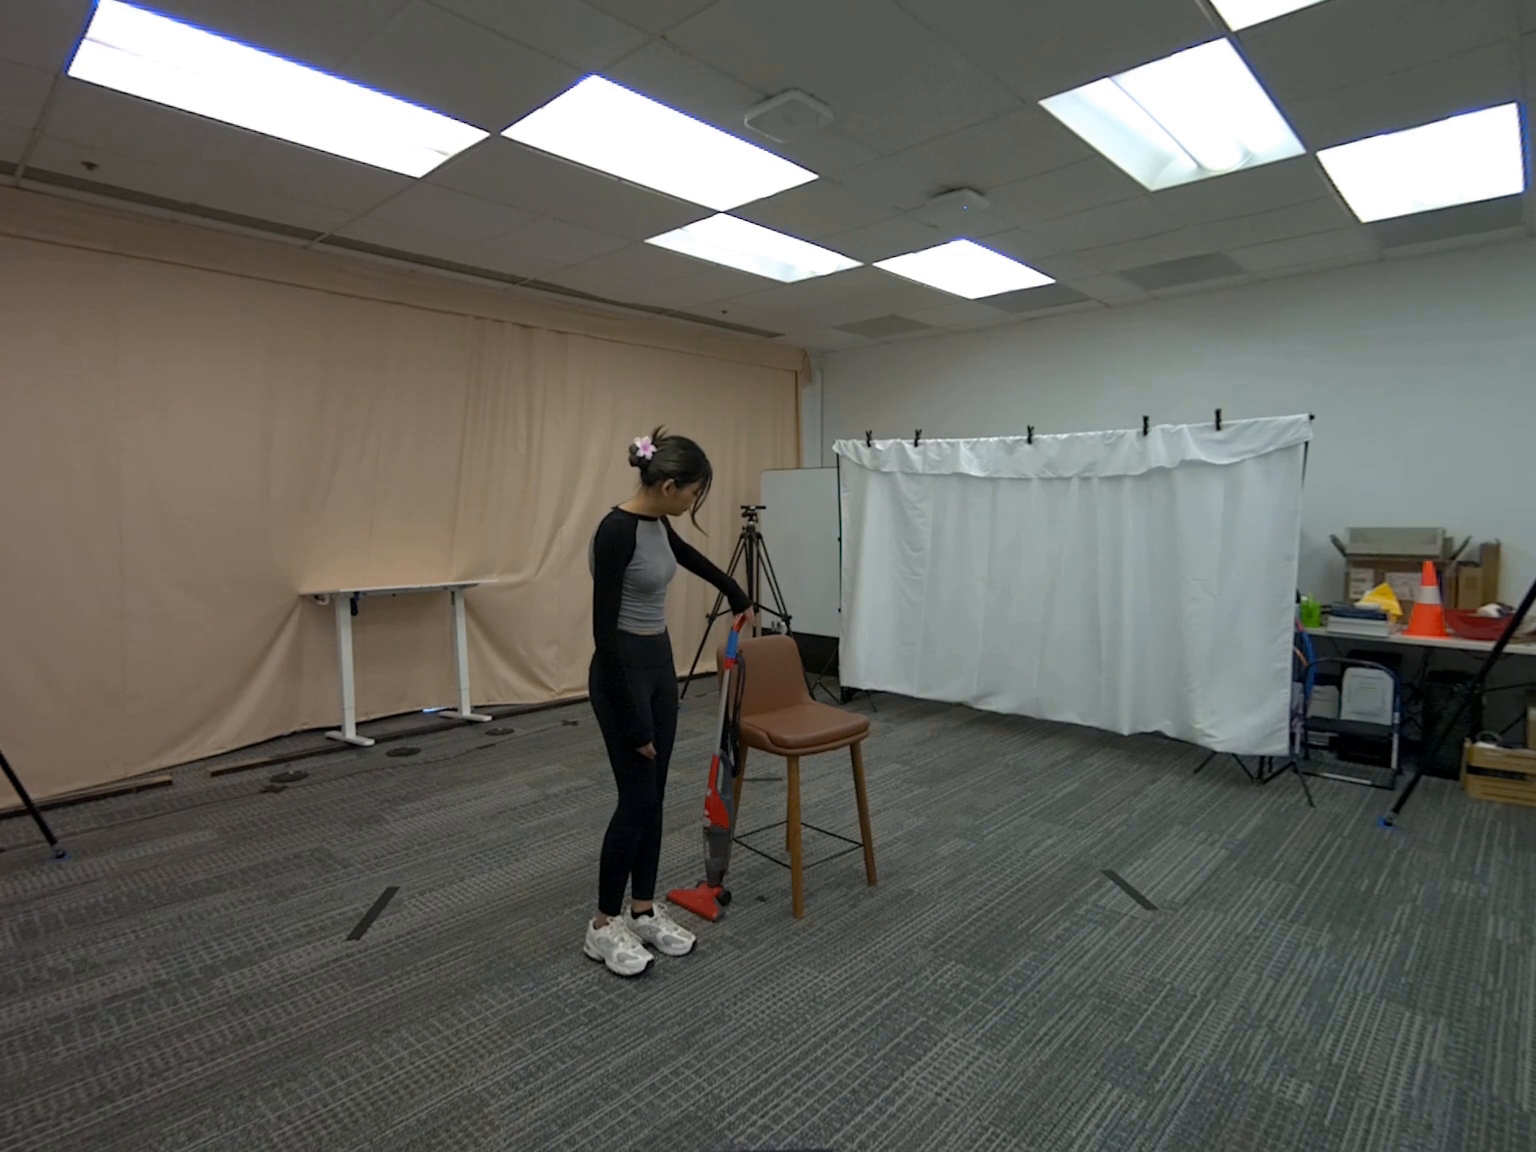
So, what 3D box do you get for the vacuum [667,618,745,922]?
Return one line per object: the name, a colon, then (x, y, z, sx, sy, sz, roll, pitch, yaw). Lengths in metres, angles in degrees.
vacuum: (-0.144, 0.630, 3.012, 0.139, 1.052, 0.260, 14, -8, -36)
